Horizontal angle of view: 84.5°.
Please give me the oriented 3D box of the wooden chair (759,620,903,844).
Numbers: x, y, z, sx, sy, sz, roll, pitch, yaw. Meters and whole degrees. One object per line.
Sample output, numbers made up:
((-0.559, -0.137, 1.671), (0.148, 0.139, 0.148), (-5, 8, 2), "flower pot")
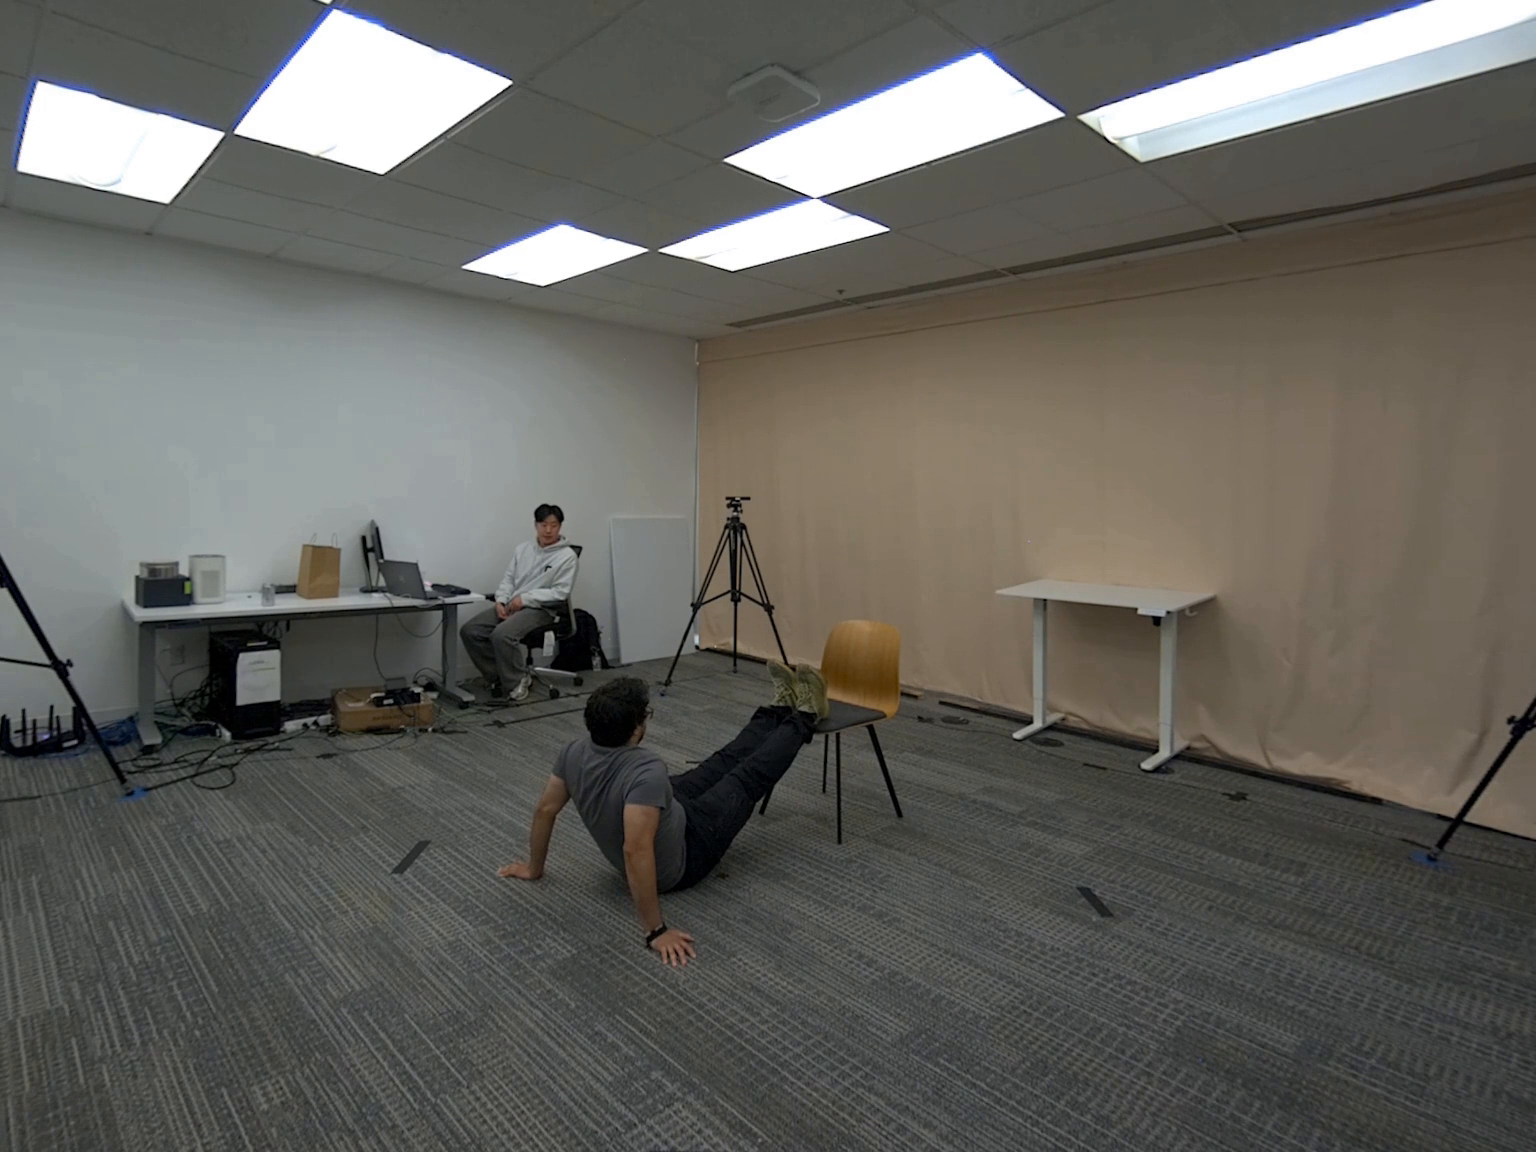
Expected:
((0.276, 0.640, 3.701), (0.490, 0.877, 0.510), (4, 0, 44), "wooden chair")
